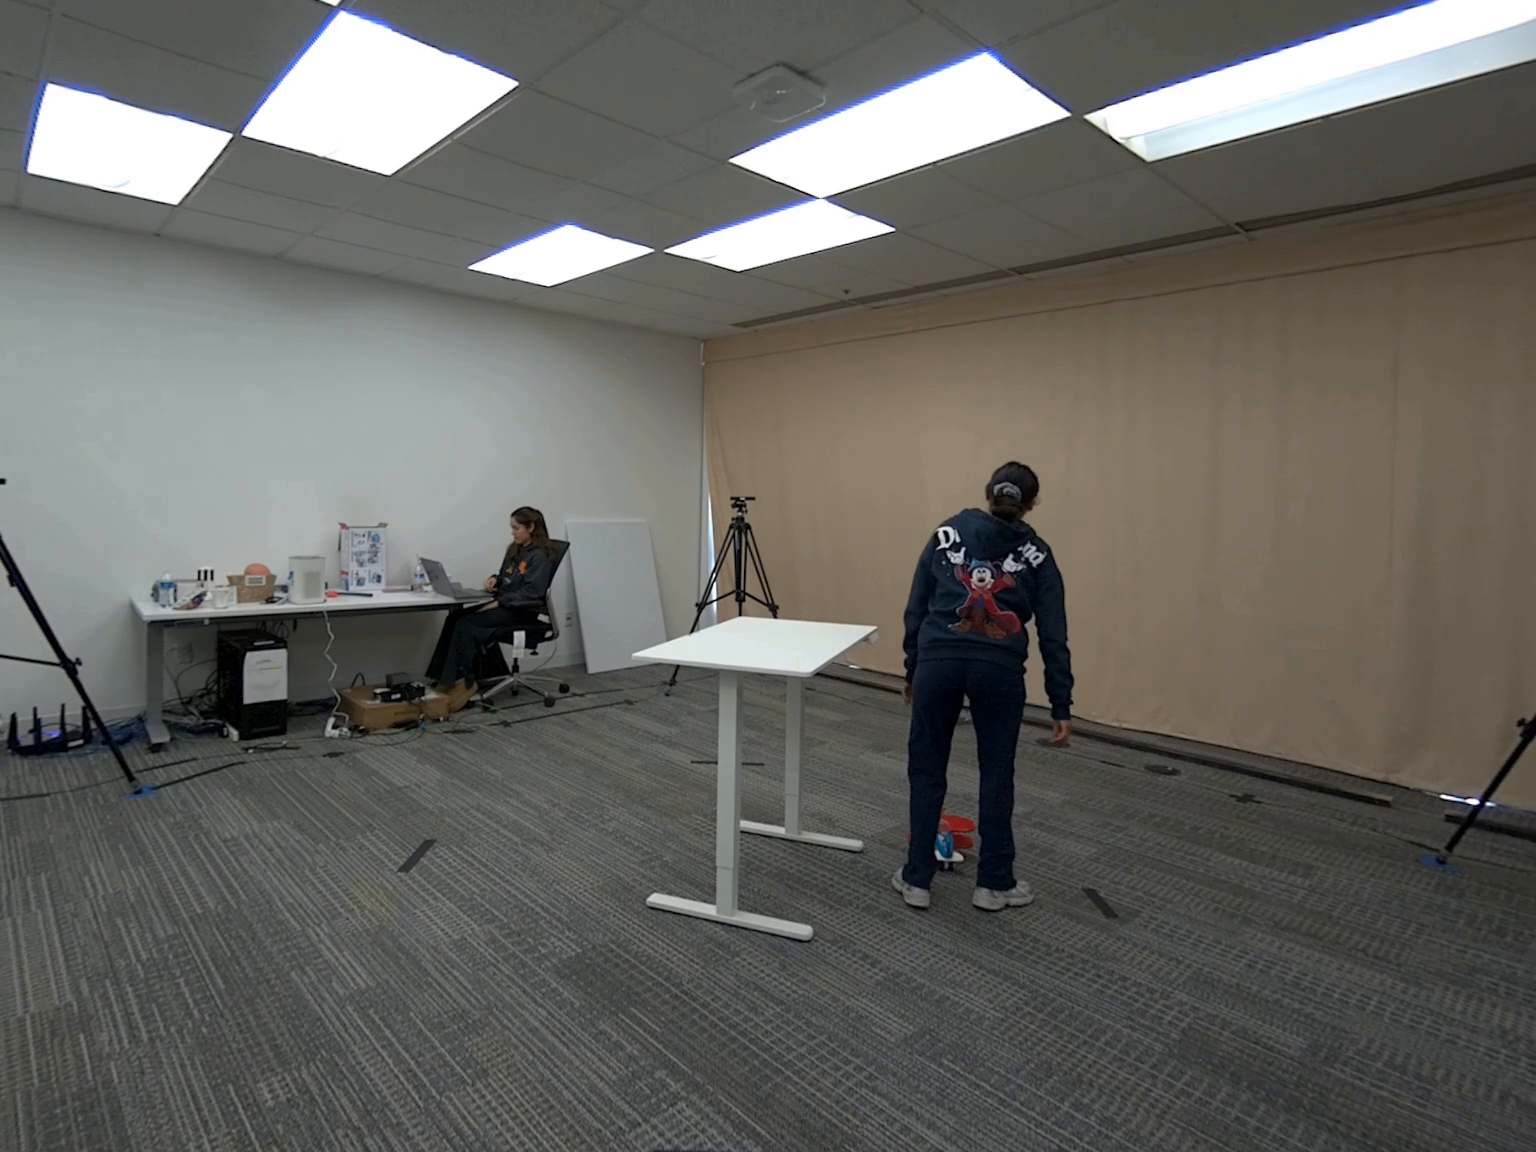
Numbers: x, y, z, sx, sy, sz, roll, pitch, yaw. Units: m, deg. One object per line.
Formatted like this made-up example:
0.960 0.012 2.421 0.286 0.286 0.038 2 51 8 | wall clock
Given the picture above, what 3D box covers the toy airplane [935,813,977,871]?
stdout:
0.694 1.037 3.304 0.246 0.156 0.265 -2 7 -28 | toy airplane
